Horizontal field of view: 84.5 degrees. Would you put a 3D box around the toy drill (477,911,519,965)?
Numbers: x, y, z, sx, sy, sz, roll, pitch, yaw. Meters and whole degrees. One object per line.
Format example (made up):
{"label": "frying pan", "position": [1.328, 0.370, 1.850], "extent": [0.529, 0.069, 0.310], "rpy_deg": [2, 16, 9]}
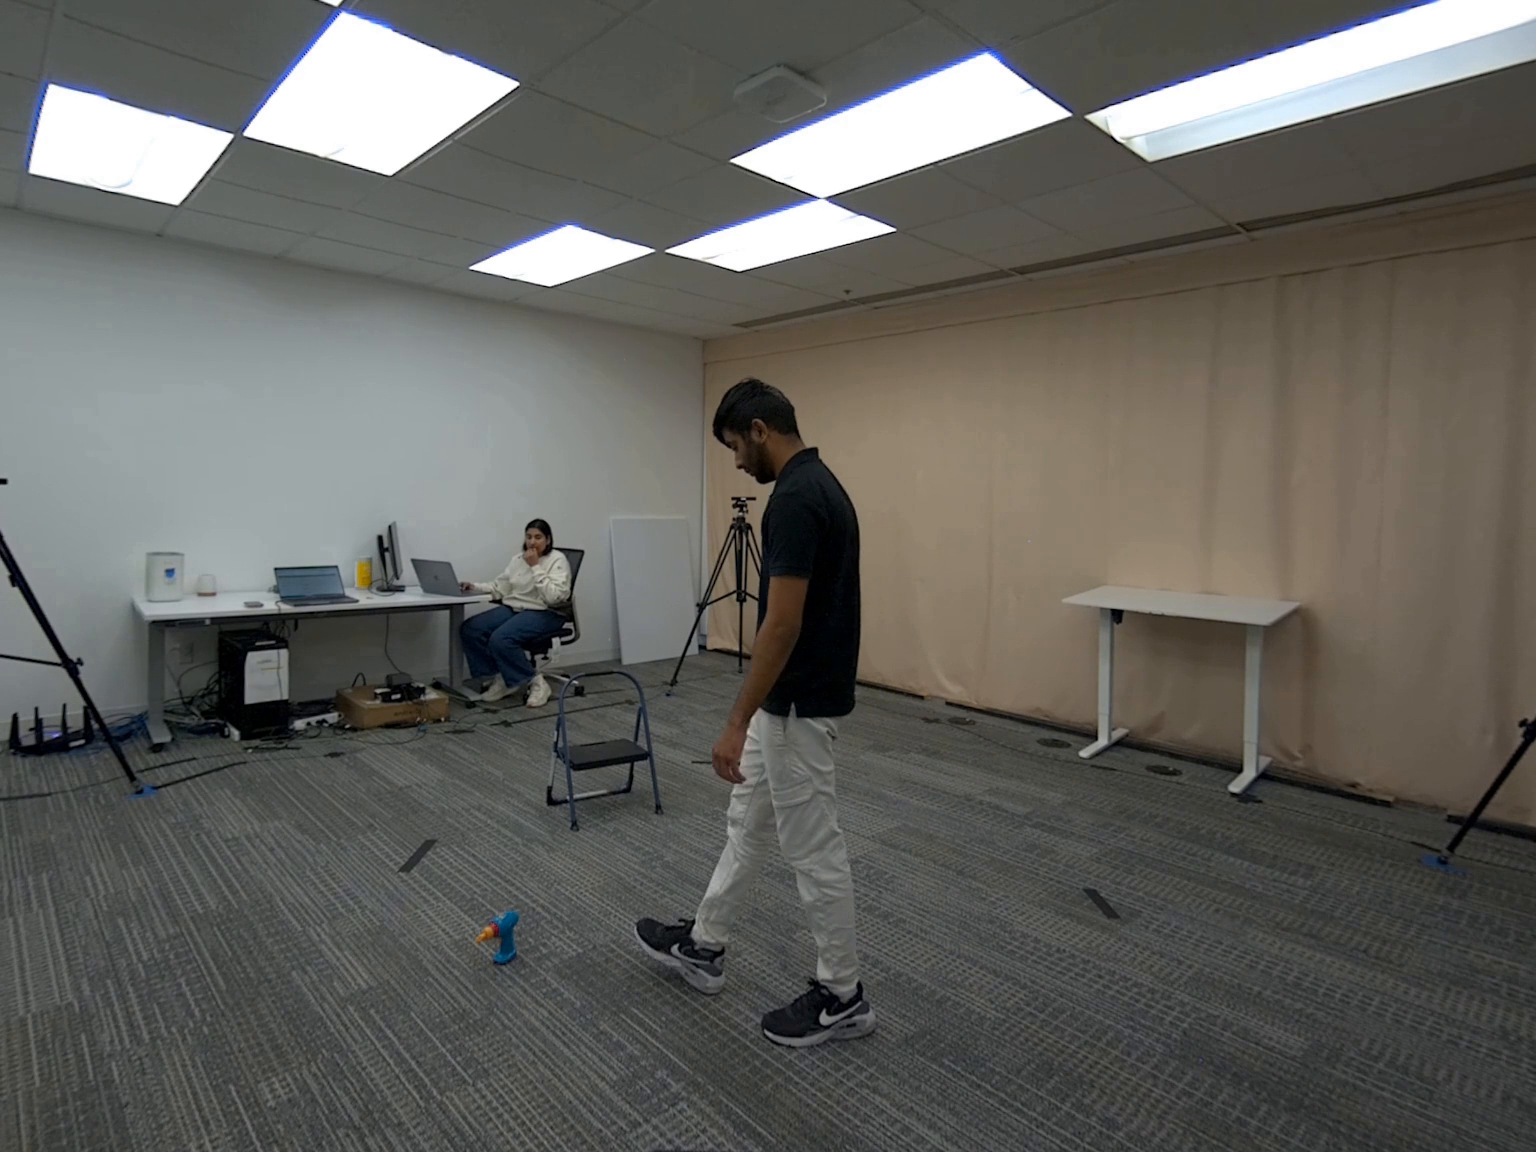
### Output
{"label": "toy drill", "position": [-0.801, 1.078, 2.475], "extent": [0.062, 0.146, 0.167], "rpy_deg": [4, 4, 21]}
